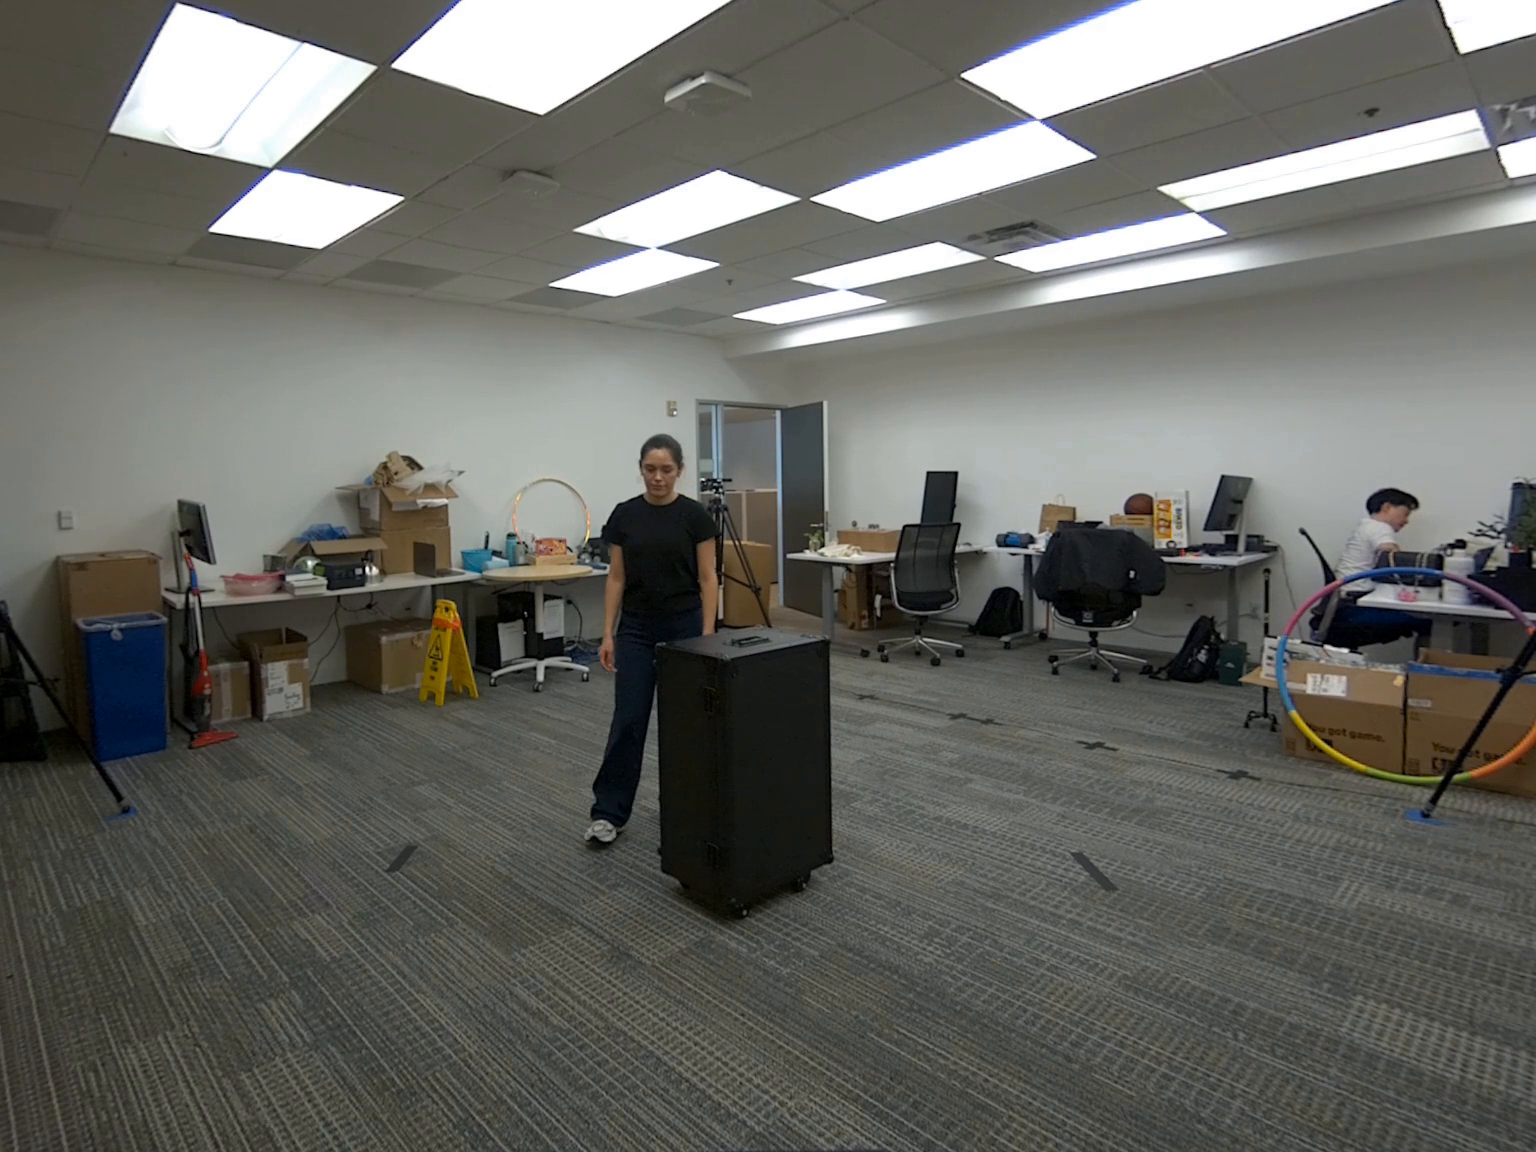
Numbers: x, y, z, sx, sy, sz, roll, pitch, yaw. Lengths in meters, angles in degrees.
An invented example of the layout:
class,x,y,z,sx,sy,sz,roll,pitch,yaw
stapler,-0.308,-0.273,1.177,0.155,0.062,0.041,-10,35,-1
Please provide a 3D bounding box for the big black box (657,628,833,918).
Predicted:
class,x,y,z,sx,sy,sz,roll,pitch,yaw
big black box,-0.083,0.643,2.918,0.507,0.858,0.408,-5,5,-43
